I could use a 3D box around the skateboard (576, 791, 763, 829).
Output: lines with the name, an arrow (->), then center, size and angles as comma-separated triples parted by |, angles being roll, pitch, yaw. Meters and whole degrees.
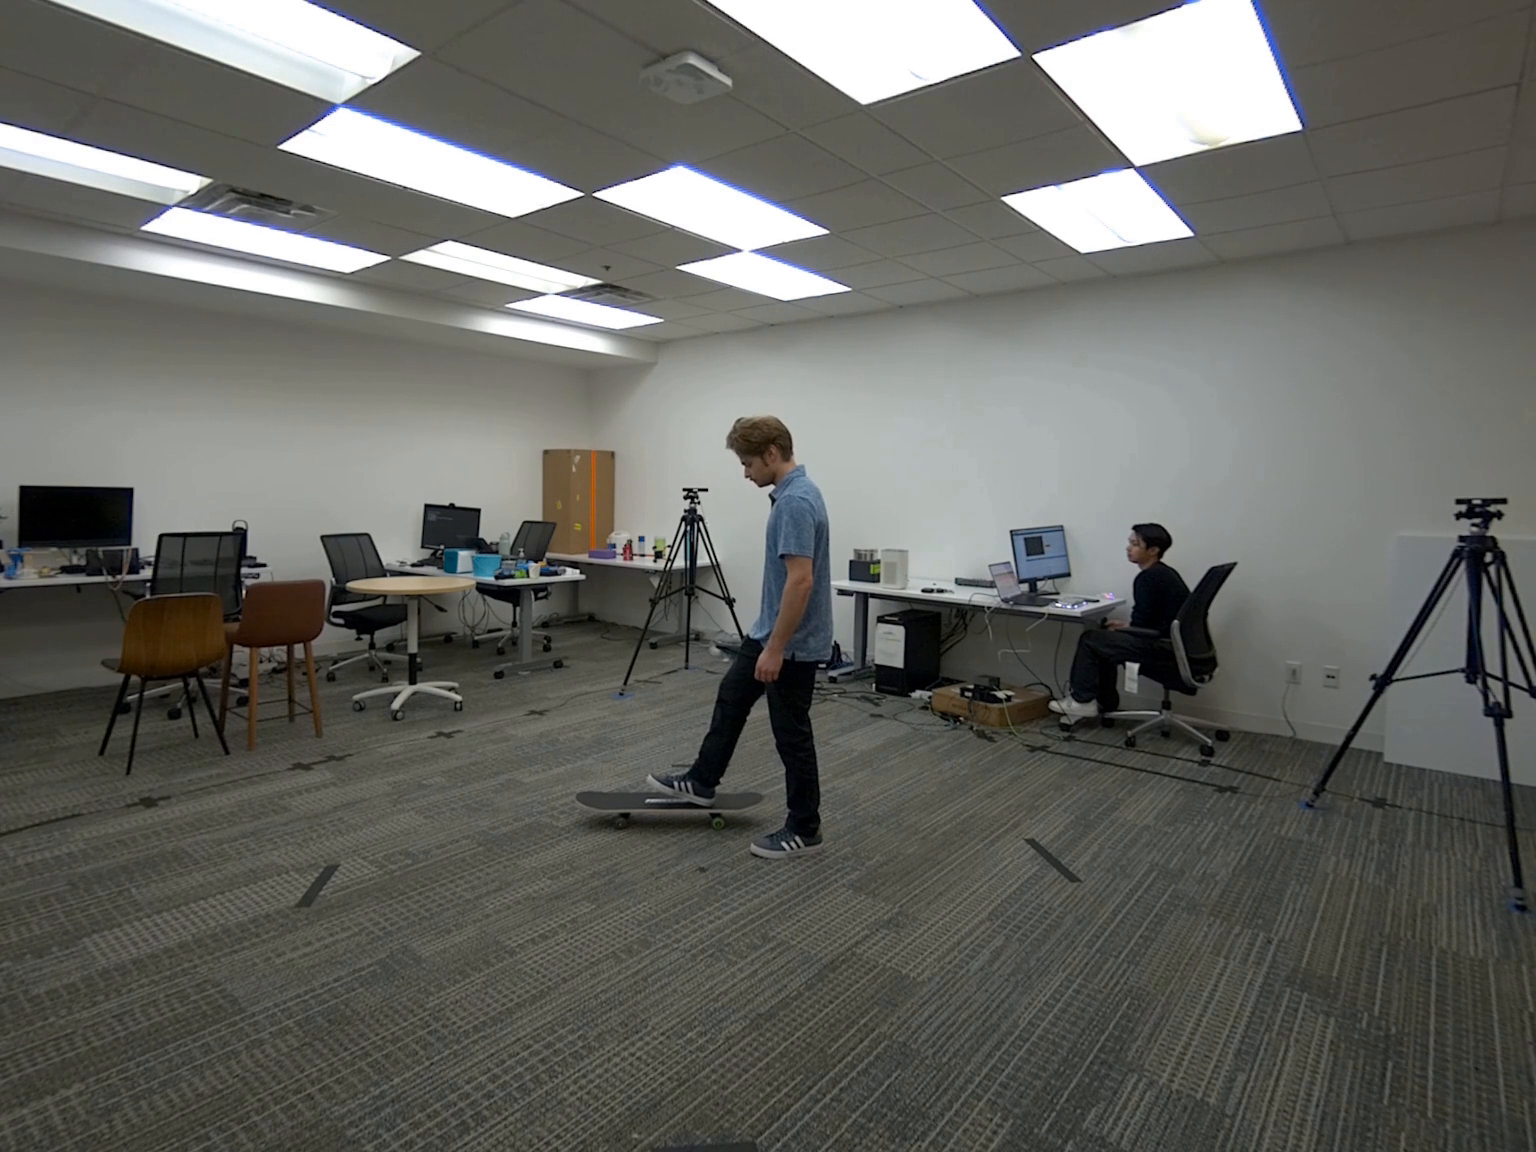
skateboard -> -0.417, 0.963, 3.543 | 0.783, 0.110, 0.195 | 1, 6, -3
